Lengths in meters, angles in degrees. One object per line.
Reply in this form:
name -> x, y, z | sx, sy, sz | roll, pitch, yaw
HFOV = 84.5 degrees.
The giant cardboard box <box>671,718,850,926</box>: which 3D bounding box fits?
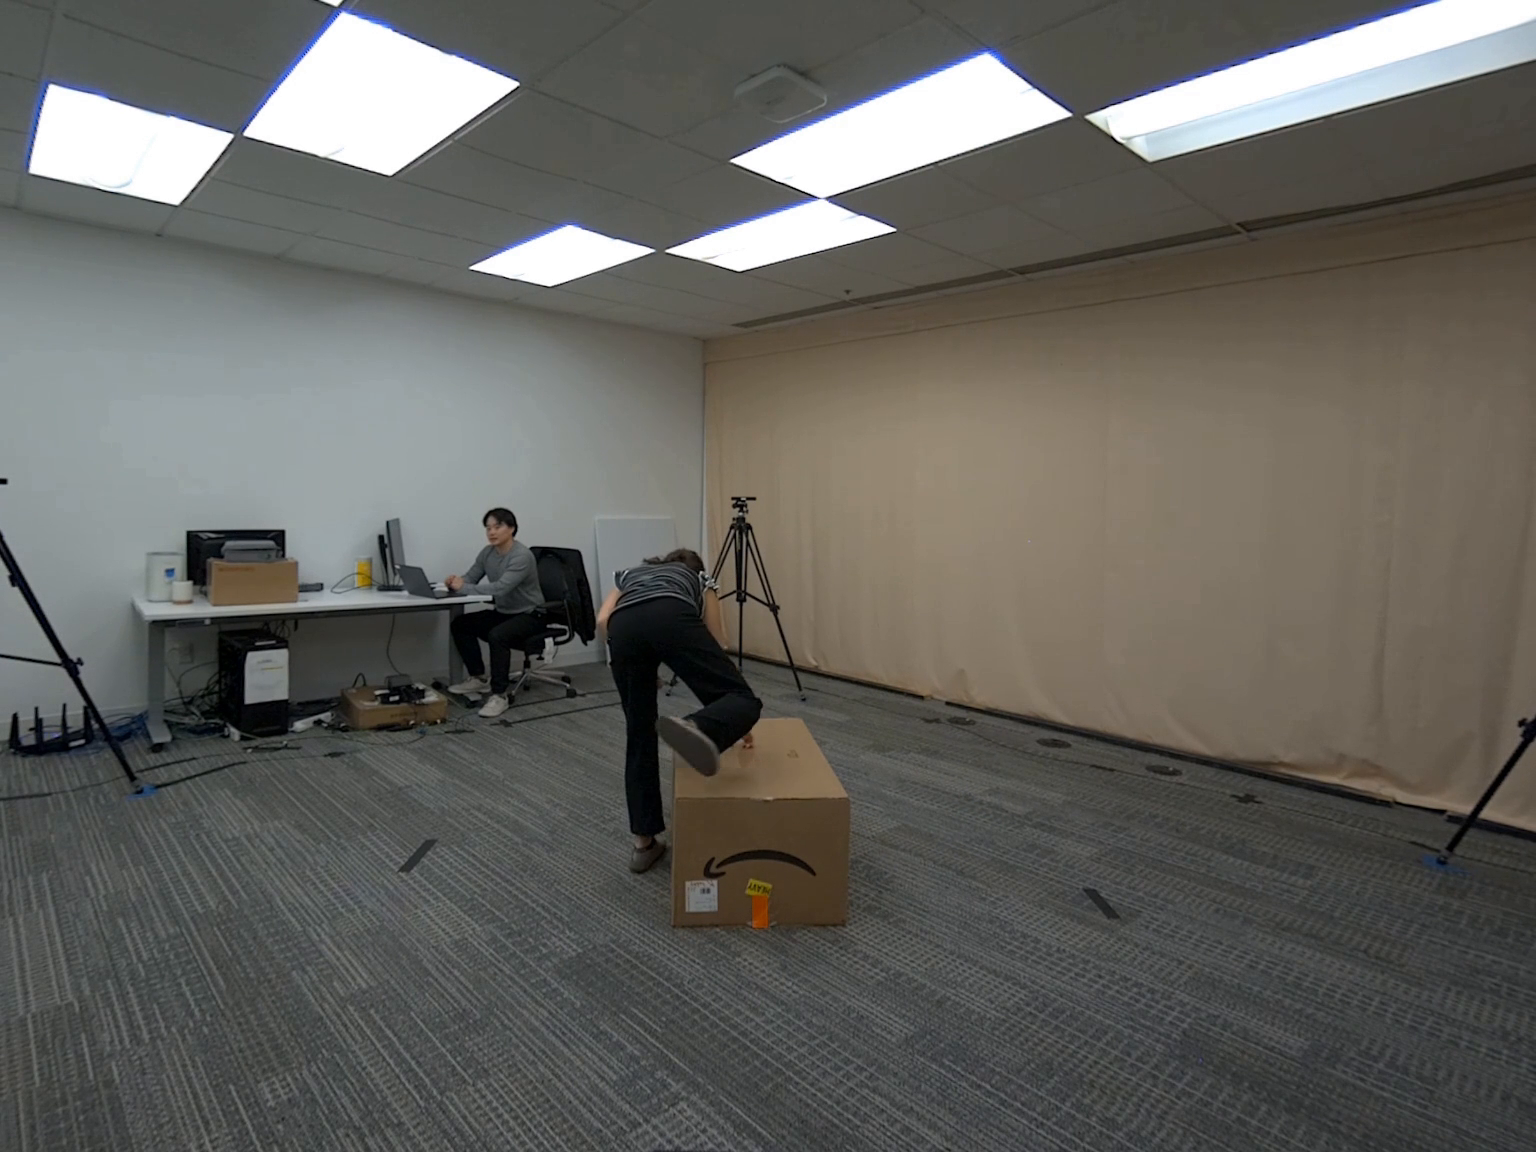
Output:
giant cardboard box -> -0.085, 0.886, 3.232 | 0.575, 0.425, 1.033 | 1, 5, -6
